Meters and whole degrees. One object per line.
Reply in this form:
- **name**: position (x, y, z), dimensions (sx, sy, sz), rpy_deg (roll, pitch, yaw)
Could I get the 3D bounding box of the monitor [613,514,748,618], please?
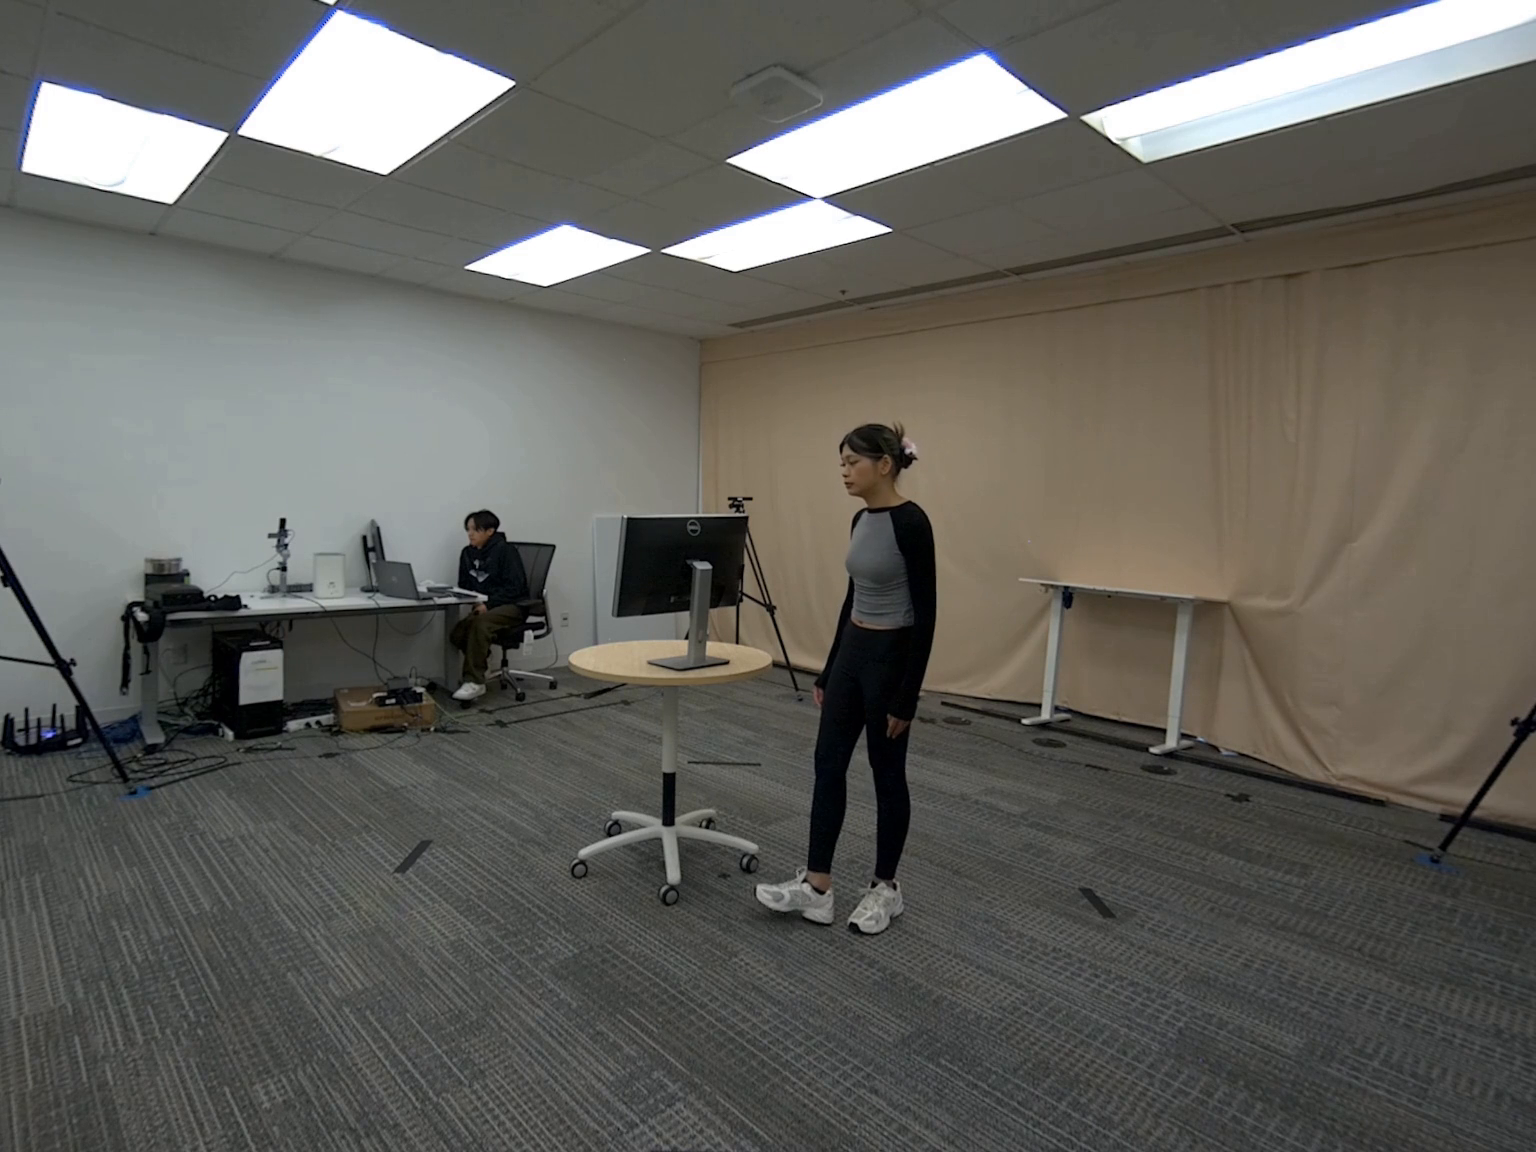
- **monitor**: position (-0.291, 0.053, 3.047), dimensions (0.527, 0.522, 0.192), rpy_deg (-3, 3, -43)
